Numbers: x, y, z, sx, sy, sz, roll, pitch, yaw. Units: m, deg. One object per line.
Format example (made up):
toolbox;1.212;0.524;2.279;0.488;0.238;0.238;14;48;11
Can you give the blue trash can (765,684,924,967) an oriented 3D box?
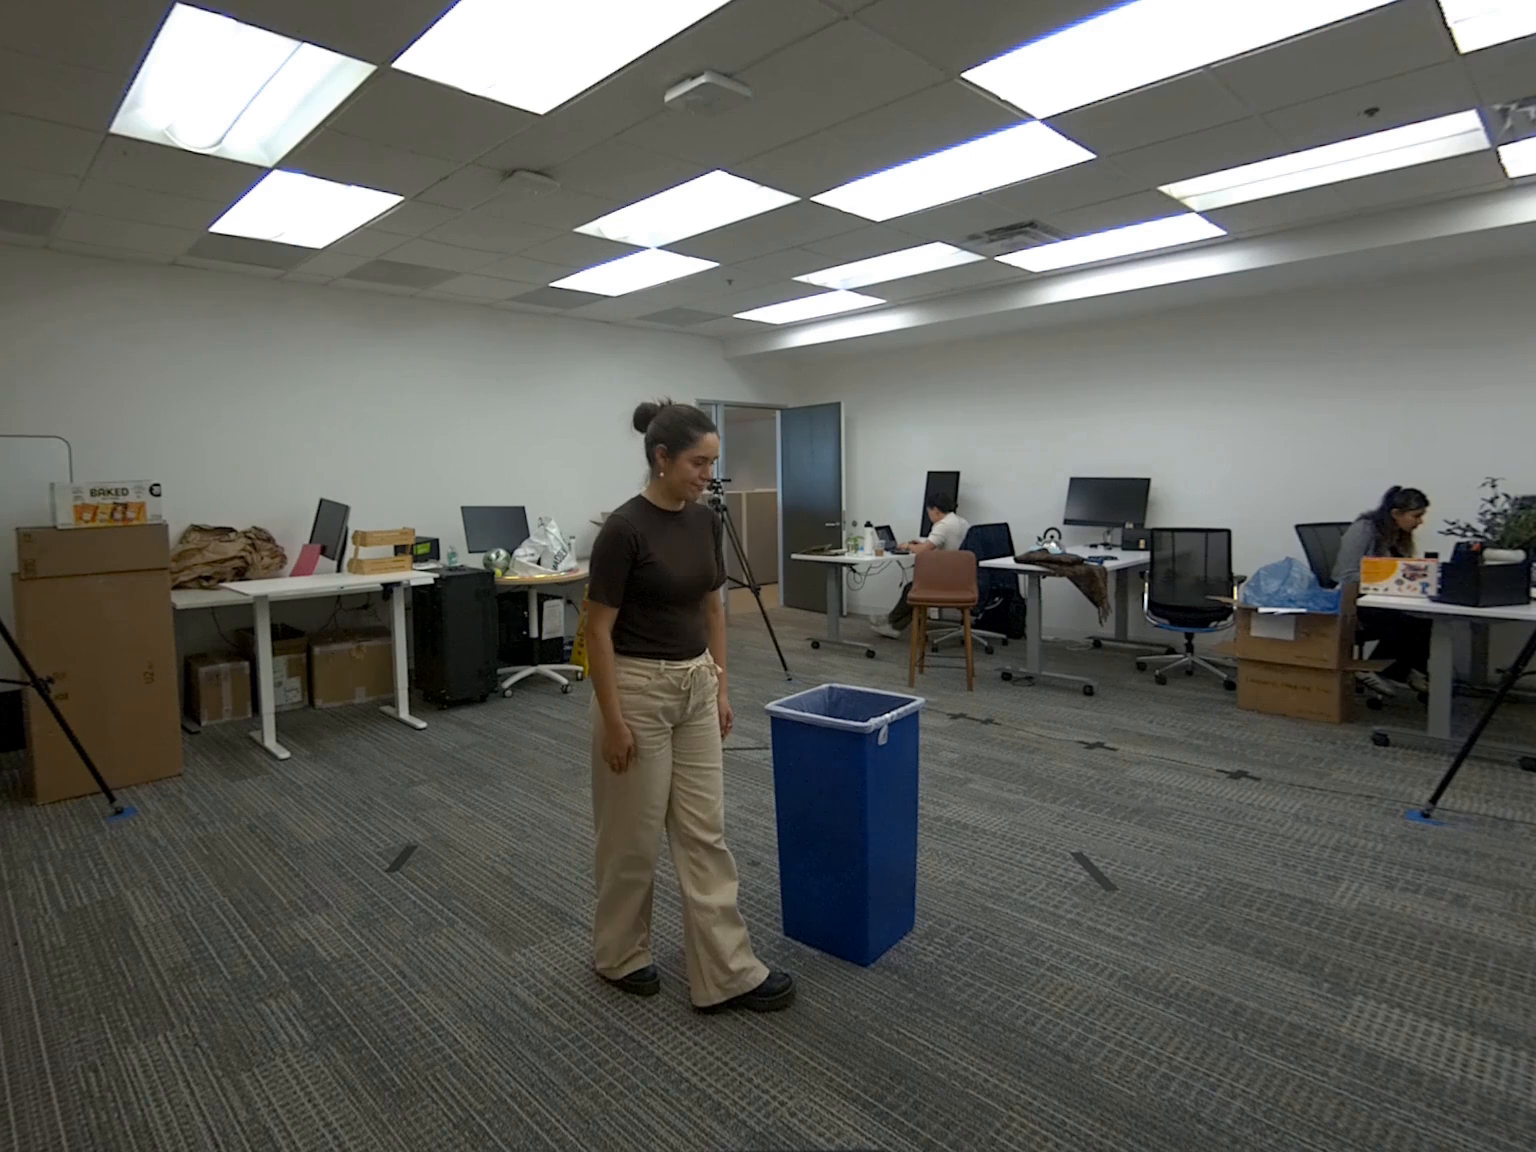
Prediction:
blue trash can;0.242;0.737;2.617;0.385;0.711;0.368;2;5;39
